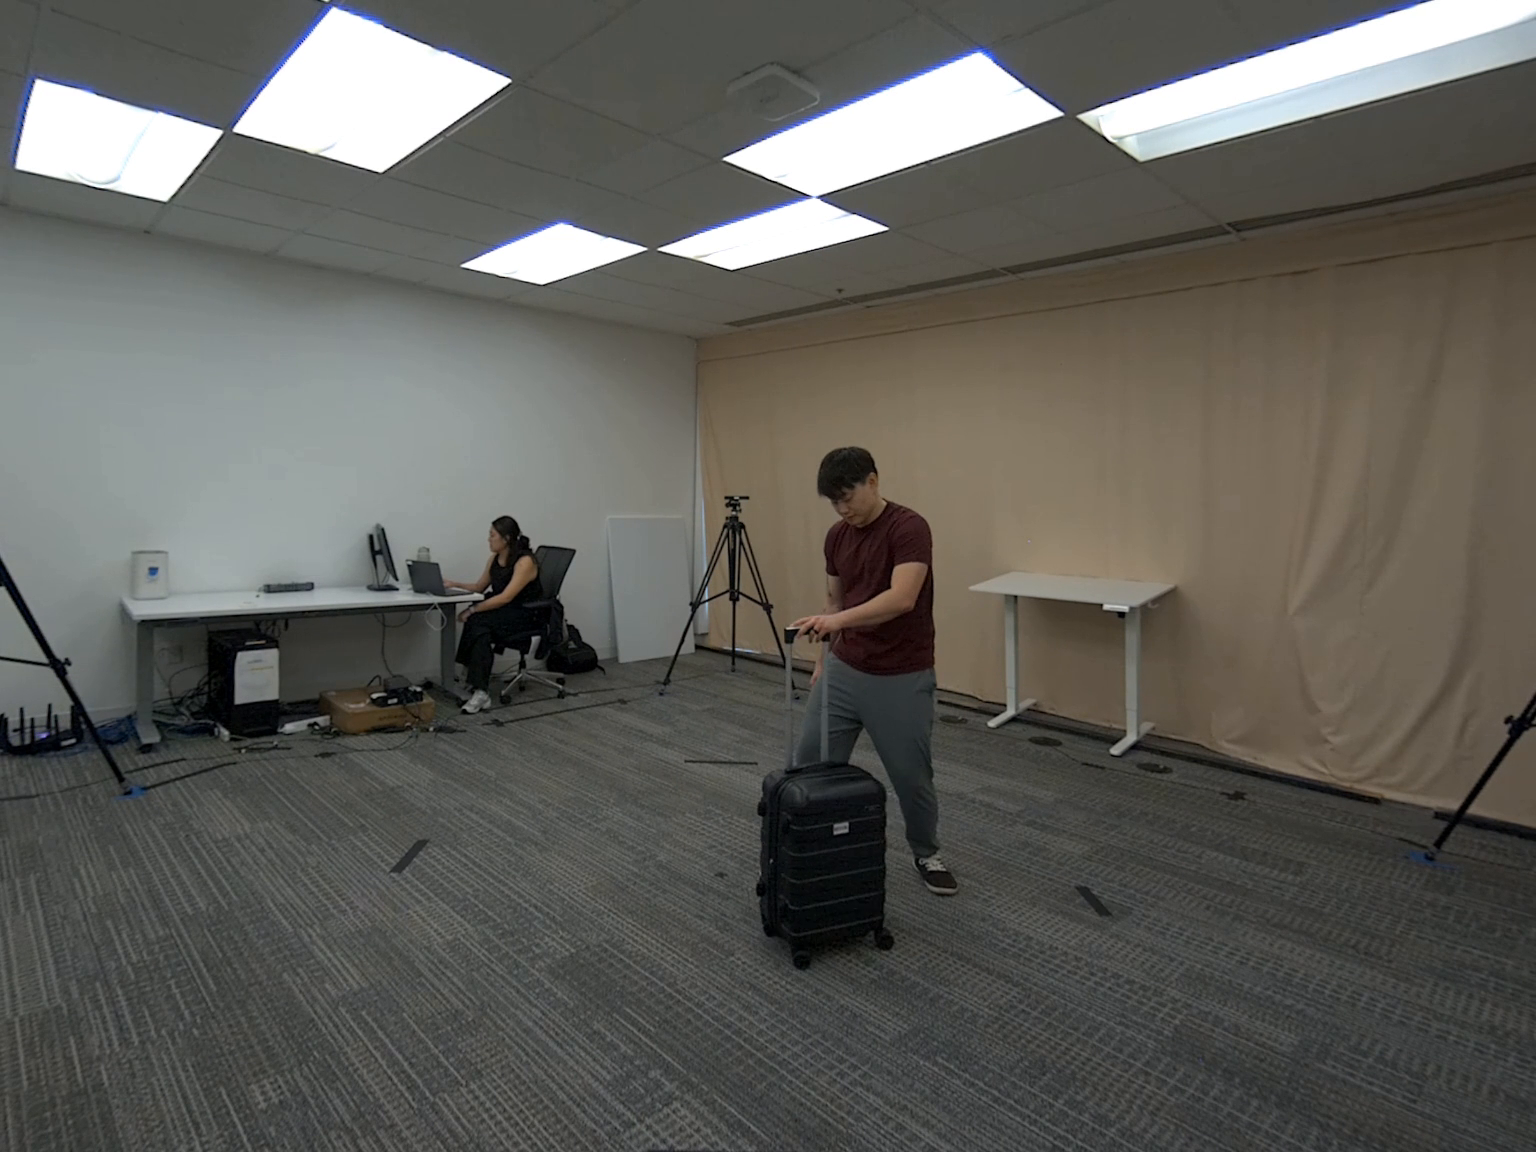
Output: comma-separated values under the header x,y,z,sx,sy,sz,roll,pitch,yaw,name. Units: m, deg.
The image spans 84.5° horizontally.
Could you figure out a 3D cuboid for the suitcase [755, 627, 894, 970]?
x,y,z,sx,sy,sz,roll,pitch,yaw,name
0.170,0.678,2.628,0.378,0.975,0.262,-2,5,-22,suitcase
